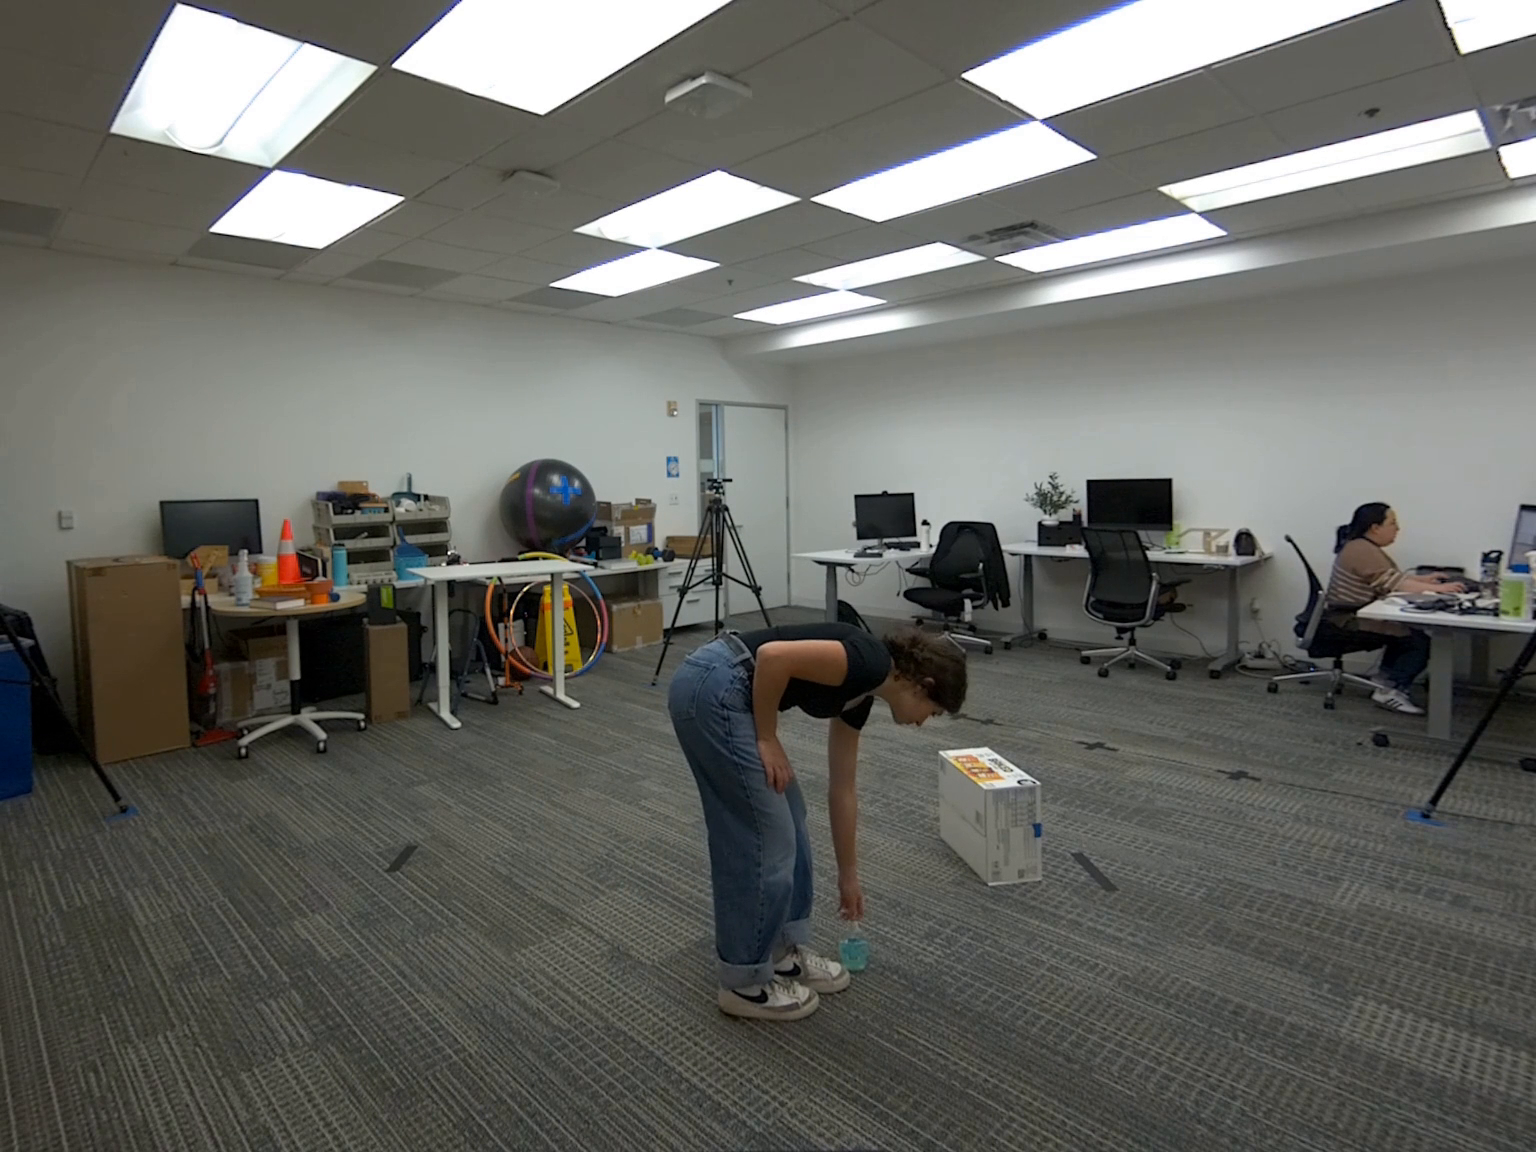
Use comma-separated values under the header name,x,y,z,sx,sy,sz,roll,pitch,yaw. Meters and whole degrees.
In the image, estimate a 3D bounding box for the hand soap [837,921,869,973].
name,x,y,z,sx,sy,sz,roll,pitch,yaw
hand soap,0.248,1.037,2.433,0.085,0.168,0.043,-2,2,2
